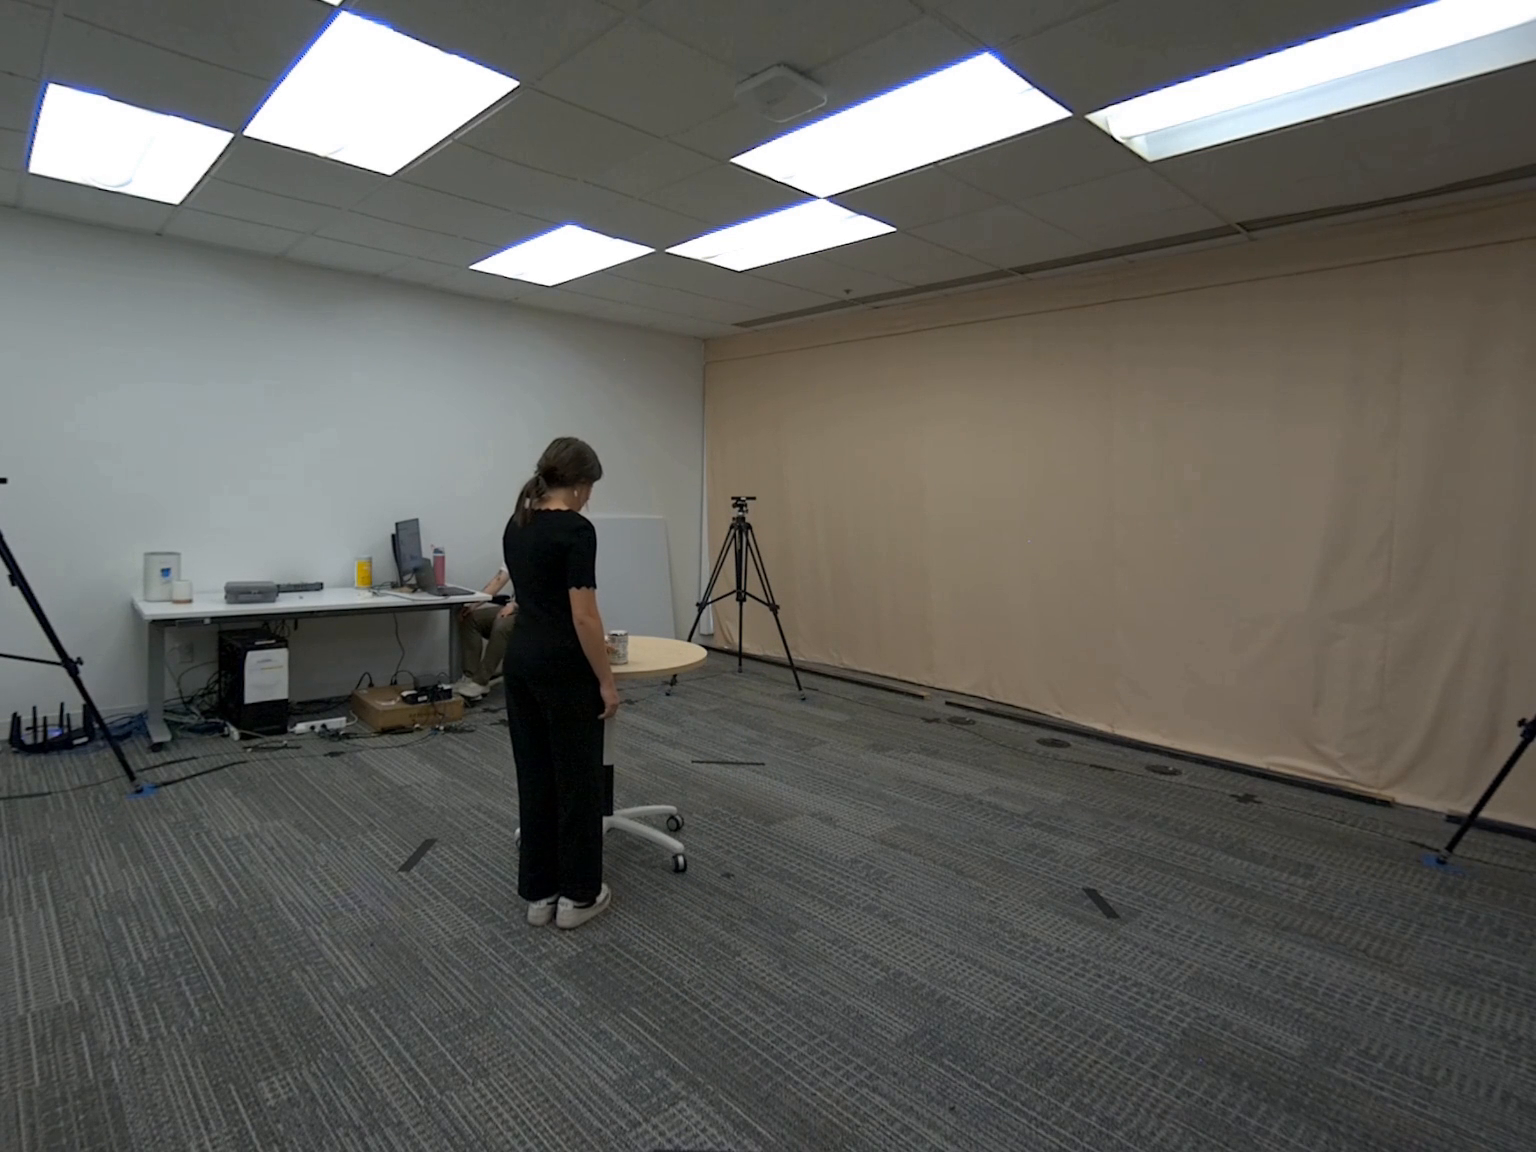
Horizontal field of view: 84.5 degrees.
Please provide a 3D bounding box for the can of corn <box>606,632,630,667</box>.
[{"bbox_3d":[-0.544,0.262,3.054,0.074,0.111,0.074,0,4,-1],"label":"can of corn"}]
